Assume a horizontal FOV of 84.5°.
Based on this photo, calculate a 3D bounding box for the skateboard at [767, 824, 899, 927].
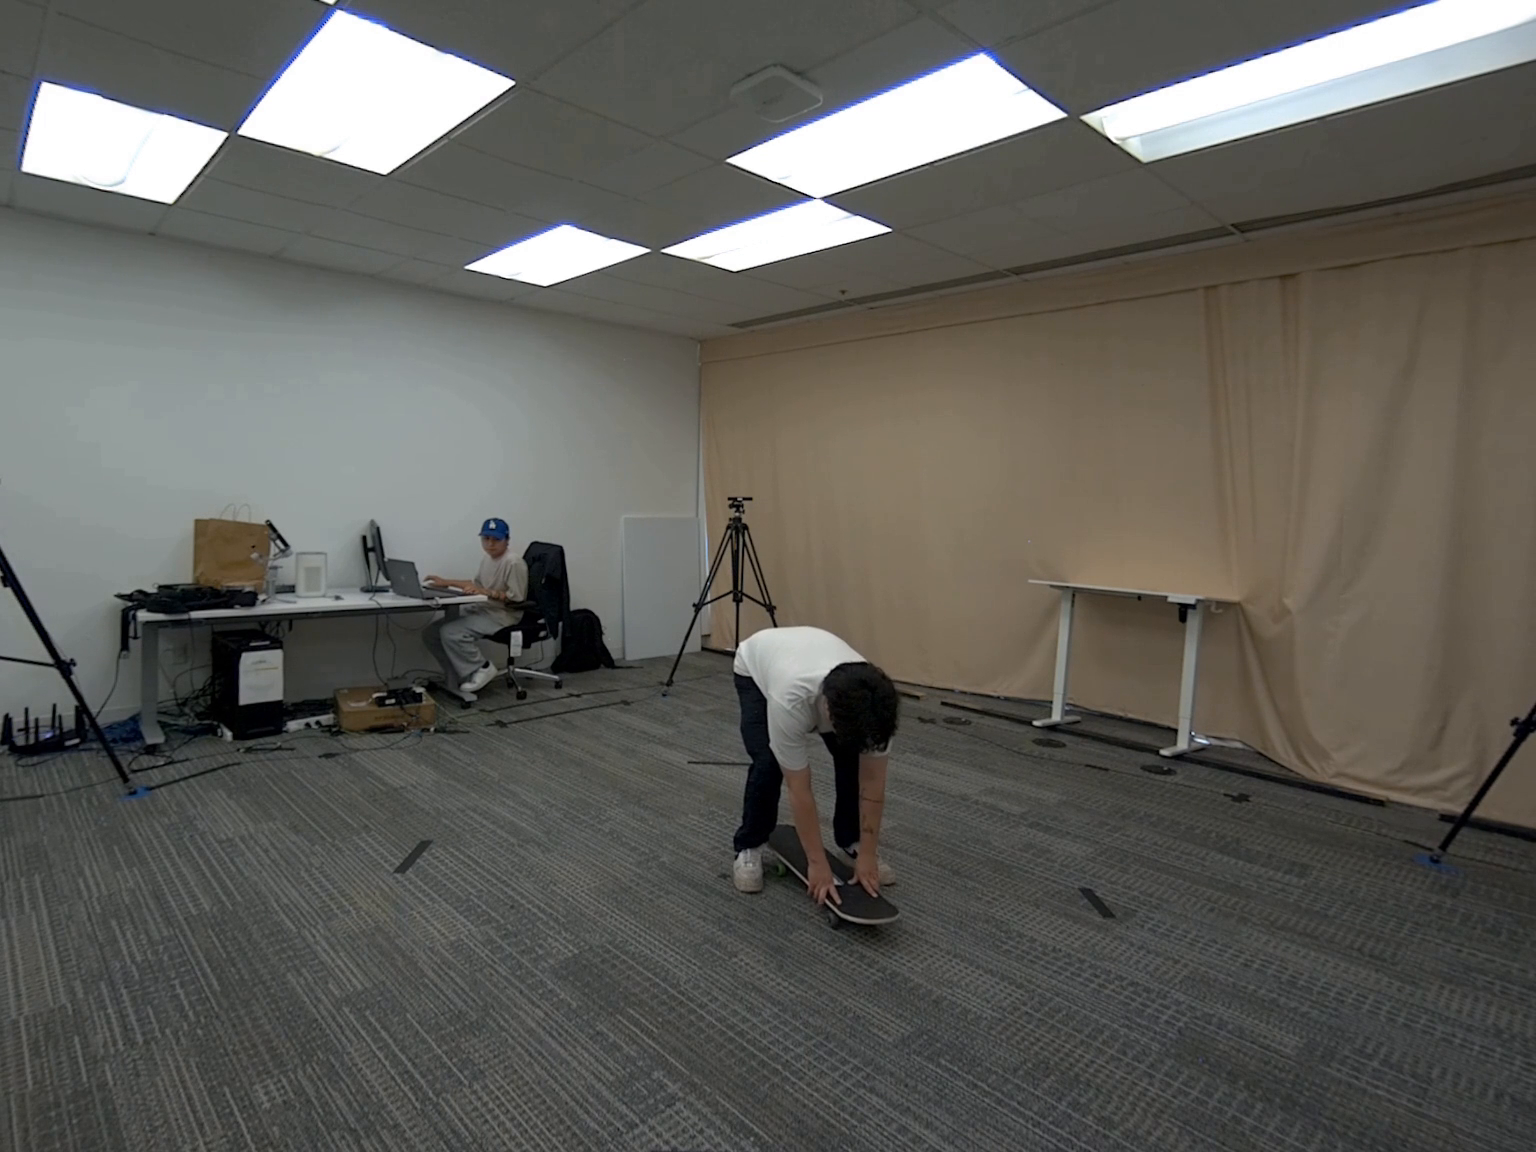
[{"bbox_3d":[0.190,1.075,2.964,0.190,0.110,0.801,-1,6,-23],"label":"skateboard"}]
